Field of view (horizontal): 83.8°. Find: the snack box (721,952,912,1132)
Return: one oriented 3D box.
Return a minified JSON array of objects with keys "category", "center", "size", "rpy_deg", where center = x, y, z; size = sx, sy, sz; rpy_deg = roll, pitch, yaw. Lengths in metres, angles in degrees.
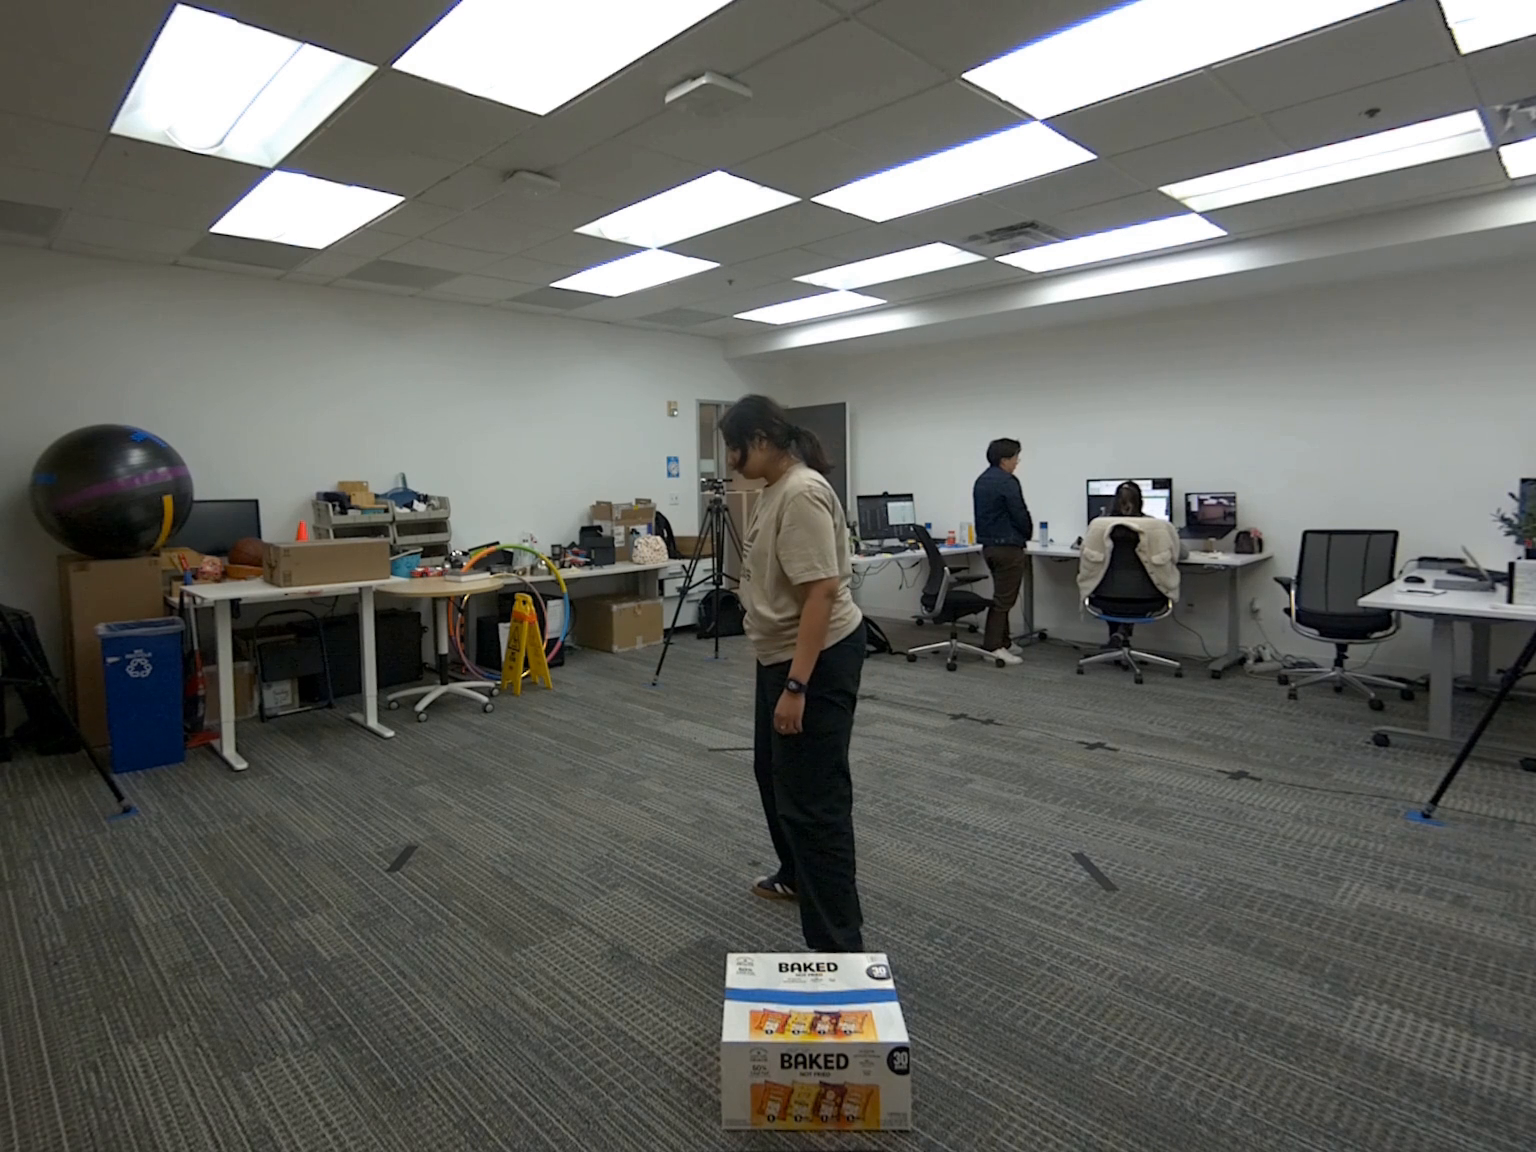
[{"category":"snack box","center":[0.106,1.079,1.988],"size":[0.406,0.205,0.341],"rpy_deg":[-1,6,1]}]
